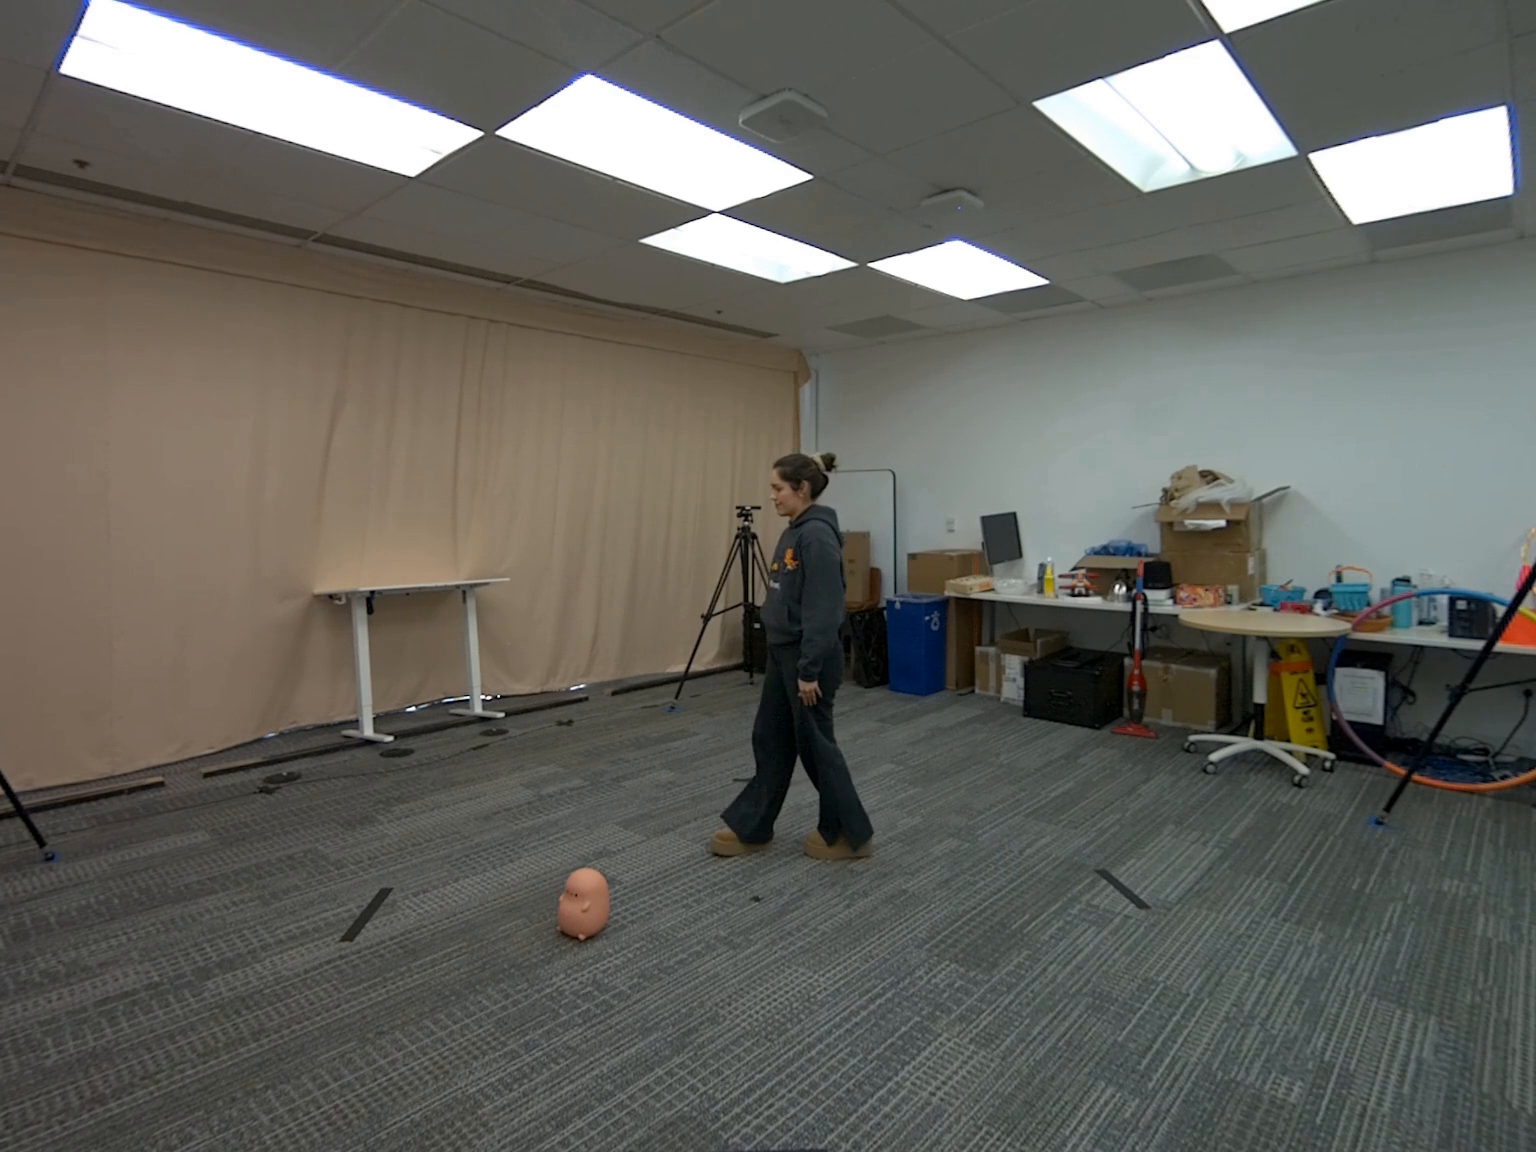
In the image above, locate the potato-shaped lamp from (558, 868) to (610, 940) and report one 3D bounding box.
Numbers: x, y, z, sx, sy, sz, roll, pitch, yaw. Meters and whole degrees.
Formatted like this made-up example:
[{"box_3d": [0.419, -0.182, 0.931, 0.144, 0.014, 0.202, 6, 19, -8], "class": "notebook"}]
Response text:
[{"box_3d": [-0.584, 1.073, 2.770, 0.170, 0.197, 0.167, 1, 6, 35], "class": "potato-shaped lamp"}]
